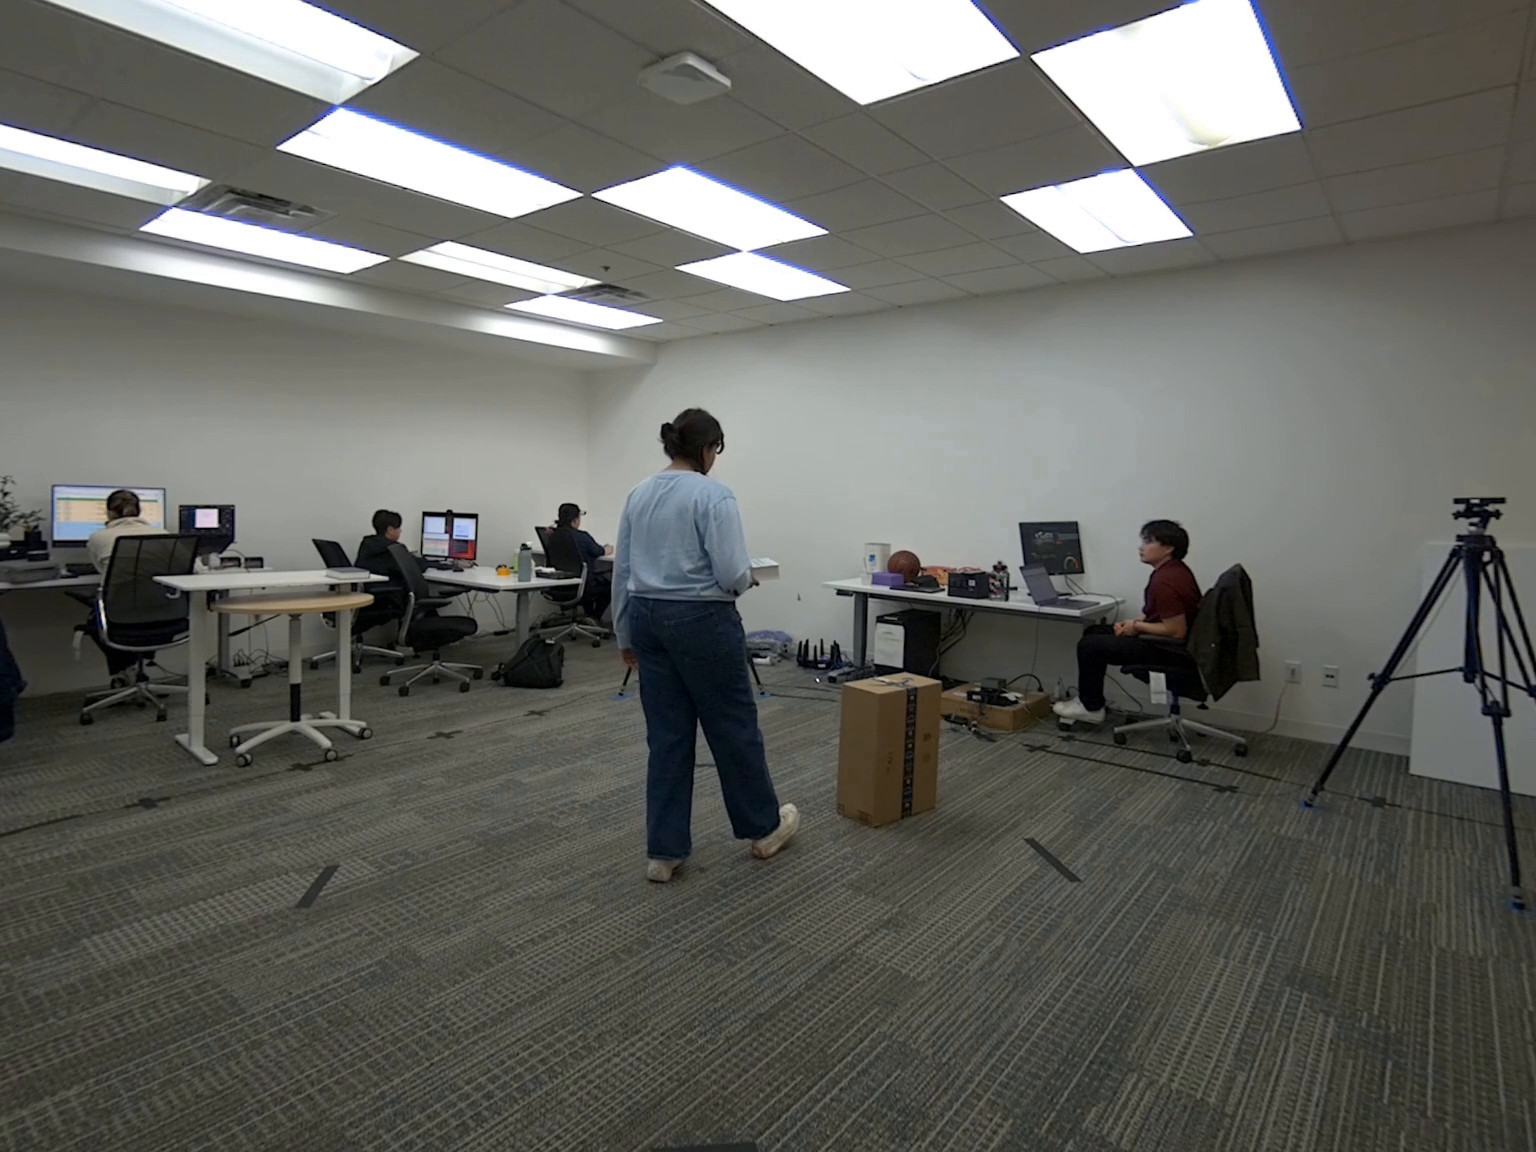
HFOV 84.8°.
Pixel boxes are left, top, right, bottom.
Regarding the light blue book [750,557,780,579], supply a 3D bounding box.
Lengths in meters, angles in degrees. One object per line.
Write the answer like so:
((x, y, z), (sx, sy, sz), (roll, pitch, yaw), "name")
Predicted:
((-0.120, -0.022, 3.317), (0.259, 0.058, 0.194), (-5, 10, -8), "light blue book")
